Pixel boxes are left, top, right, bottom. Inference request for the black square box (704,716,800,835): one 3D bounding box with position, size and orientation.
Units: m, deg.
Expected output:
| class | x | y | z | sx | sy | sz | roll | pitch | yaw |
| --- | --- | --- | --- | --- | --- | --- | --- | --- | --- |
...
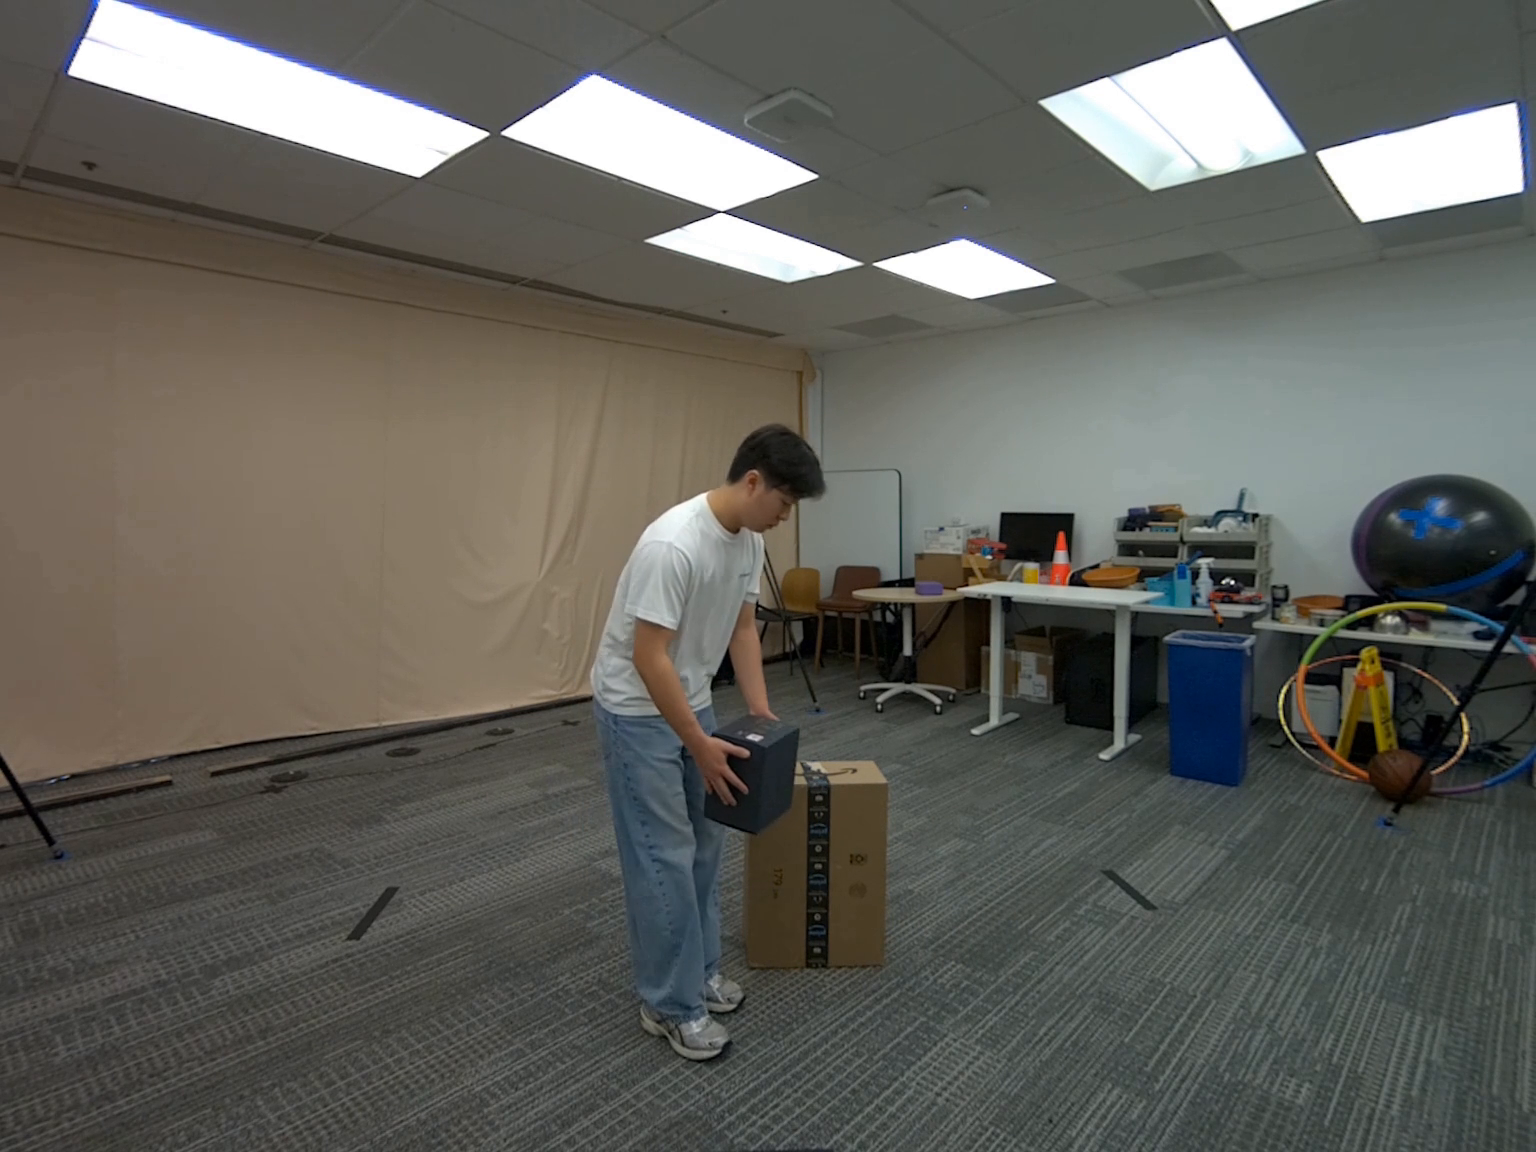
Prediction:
| class | x | y | z | sx | sy | sz | roll | pitch | yaw |
| --- | --- | --- | --- | --- | --- | --- | --- | --- | --- |
| black square box | -0.034 | 0.515 | 2.185 | 0.160 | 0.227 | 0.212 | 10 | 8 | 25 |
